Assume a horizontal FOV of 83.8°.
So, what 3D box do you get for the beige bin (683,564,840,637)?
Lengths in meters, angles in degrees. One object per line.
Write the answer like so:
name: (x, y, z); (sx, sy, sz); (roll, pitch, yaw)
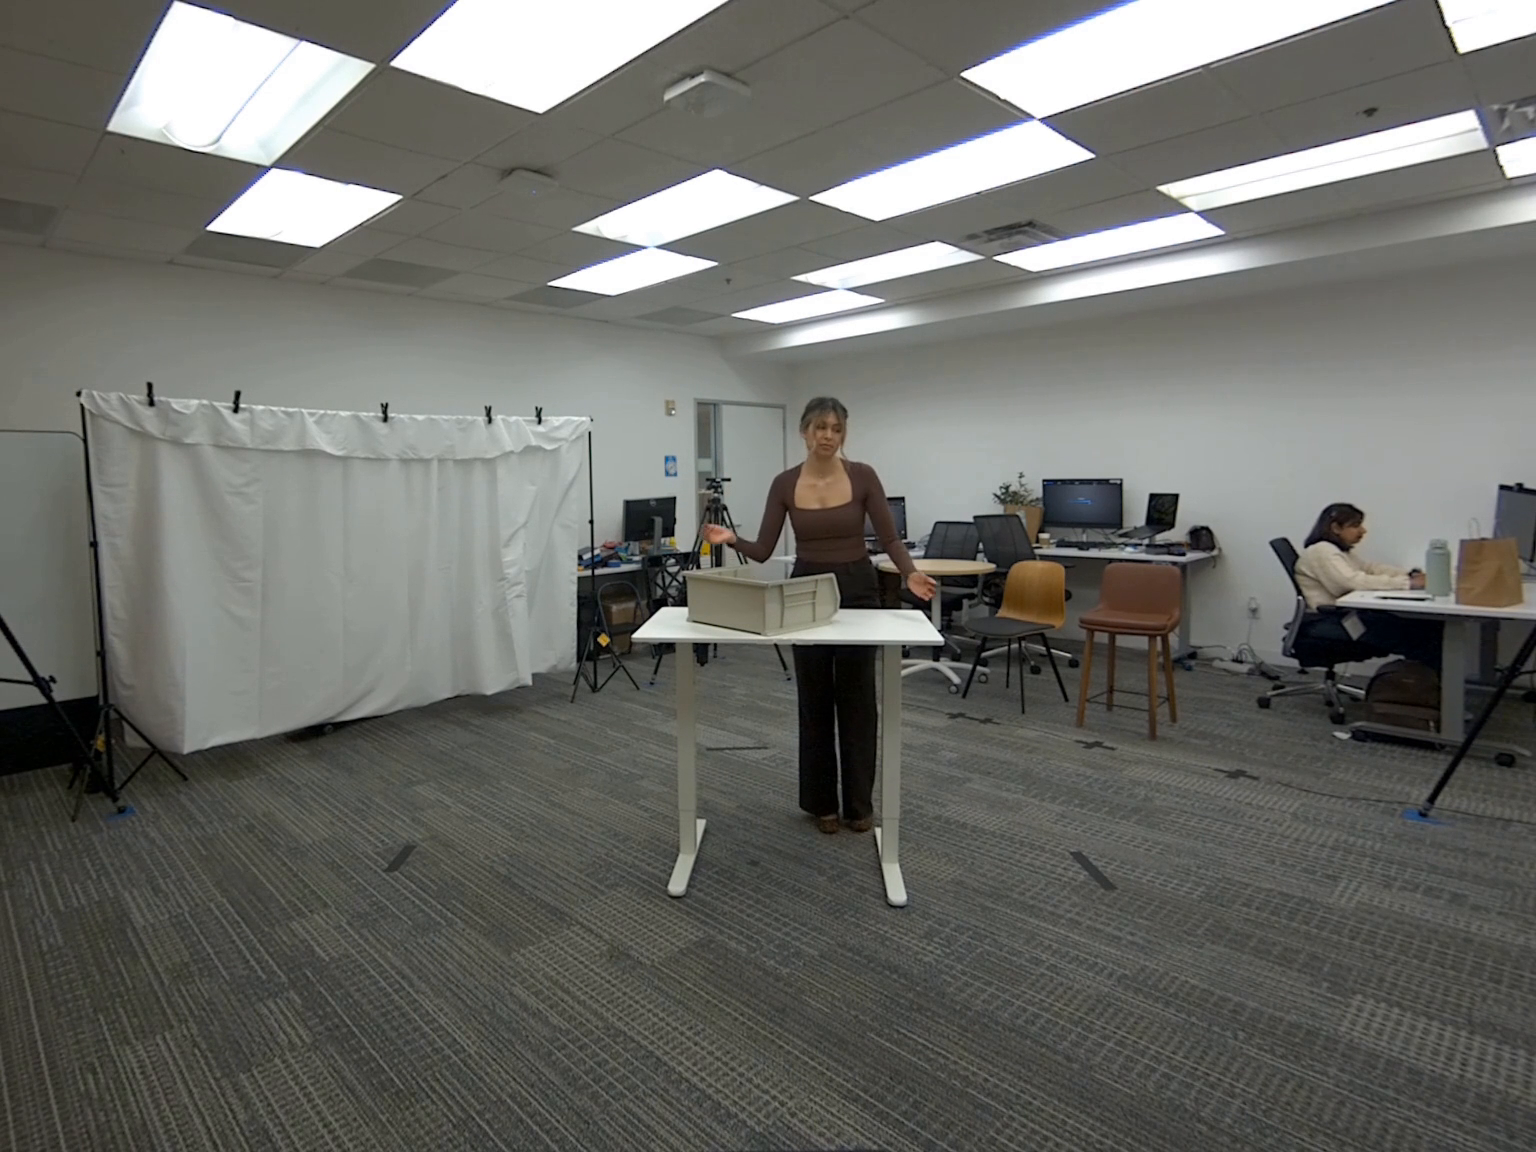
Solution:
beige bin: (-0.025, 0.079, 3.028); (0.368, 0.188, 0.436); (-8, 11, -44)
